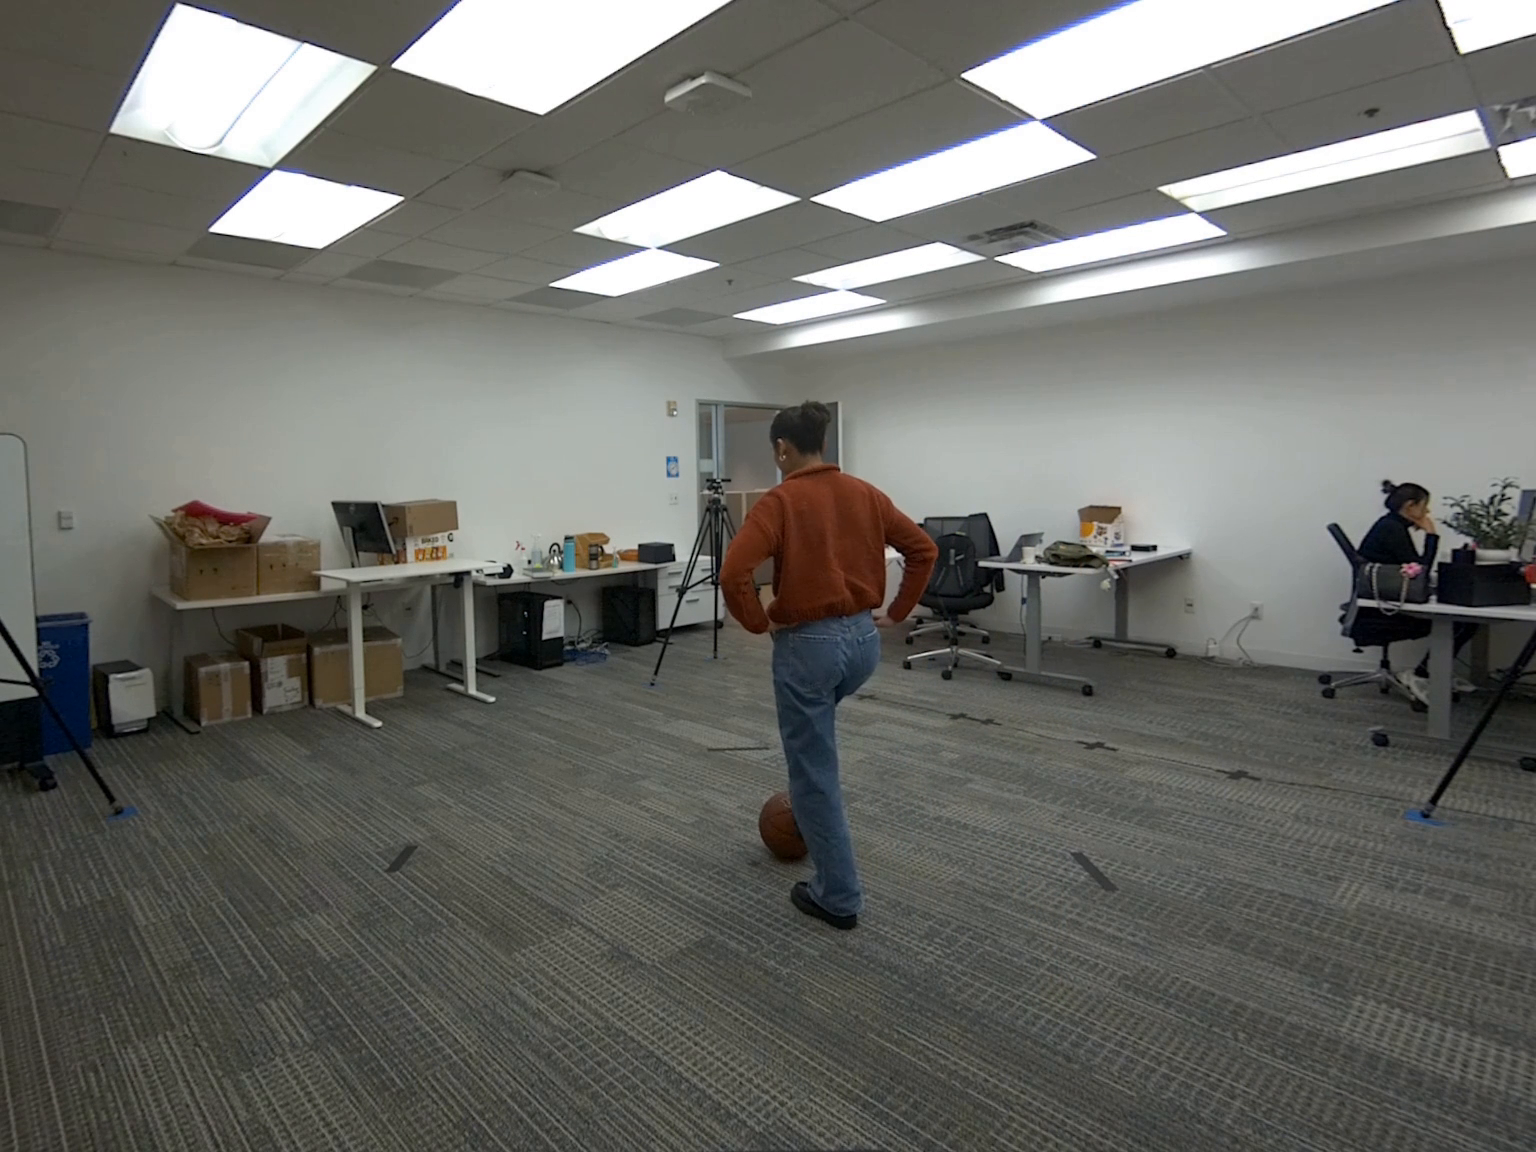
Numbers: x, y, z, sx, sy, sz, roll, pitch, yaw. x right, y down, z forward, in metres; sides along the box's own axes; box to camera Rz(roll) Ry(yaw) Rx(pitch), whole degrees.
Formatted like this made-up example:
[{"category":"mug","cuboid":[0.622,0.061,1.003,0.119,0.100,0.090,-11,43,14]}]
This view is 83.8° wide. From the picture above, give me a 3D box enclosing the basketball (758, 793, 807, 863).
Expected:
[{"category":"basketball","cuboid":[0.078,0.914,3.184,0.236,0.235,0.237,-1,5,-2]}]
